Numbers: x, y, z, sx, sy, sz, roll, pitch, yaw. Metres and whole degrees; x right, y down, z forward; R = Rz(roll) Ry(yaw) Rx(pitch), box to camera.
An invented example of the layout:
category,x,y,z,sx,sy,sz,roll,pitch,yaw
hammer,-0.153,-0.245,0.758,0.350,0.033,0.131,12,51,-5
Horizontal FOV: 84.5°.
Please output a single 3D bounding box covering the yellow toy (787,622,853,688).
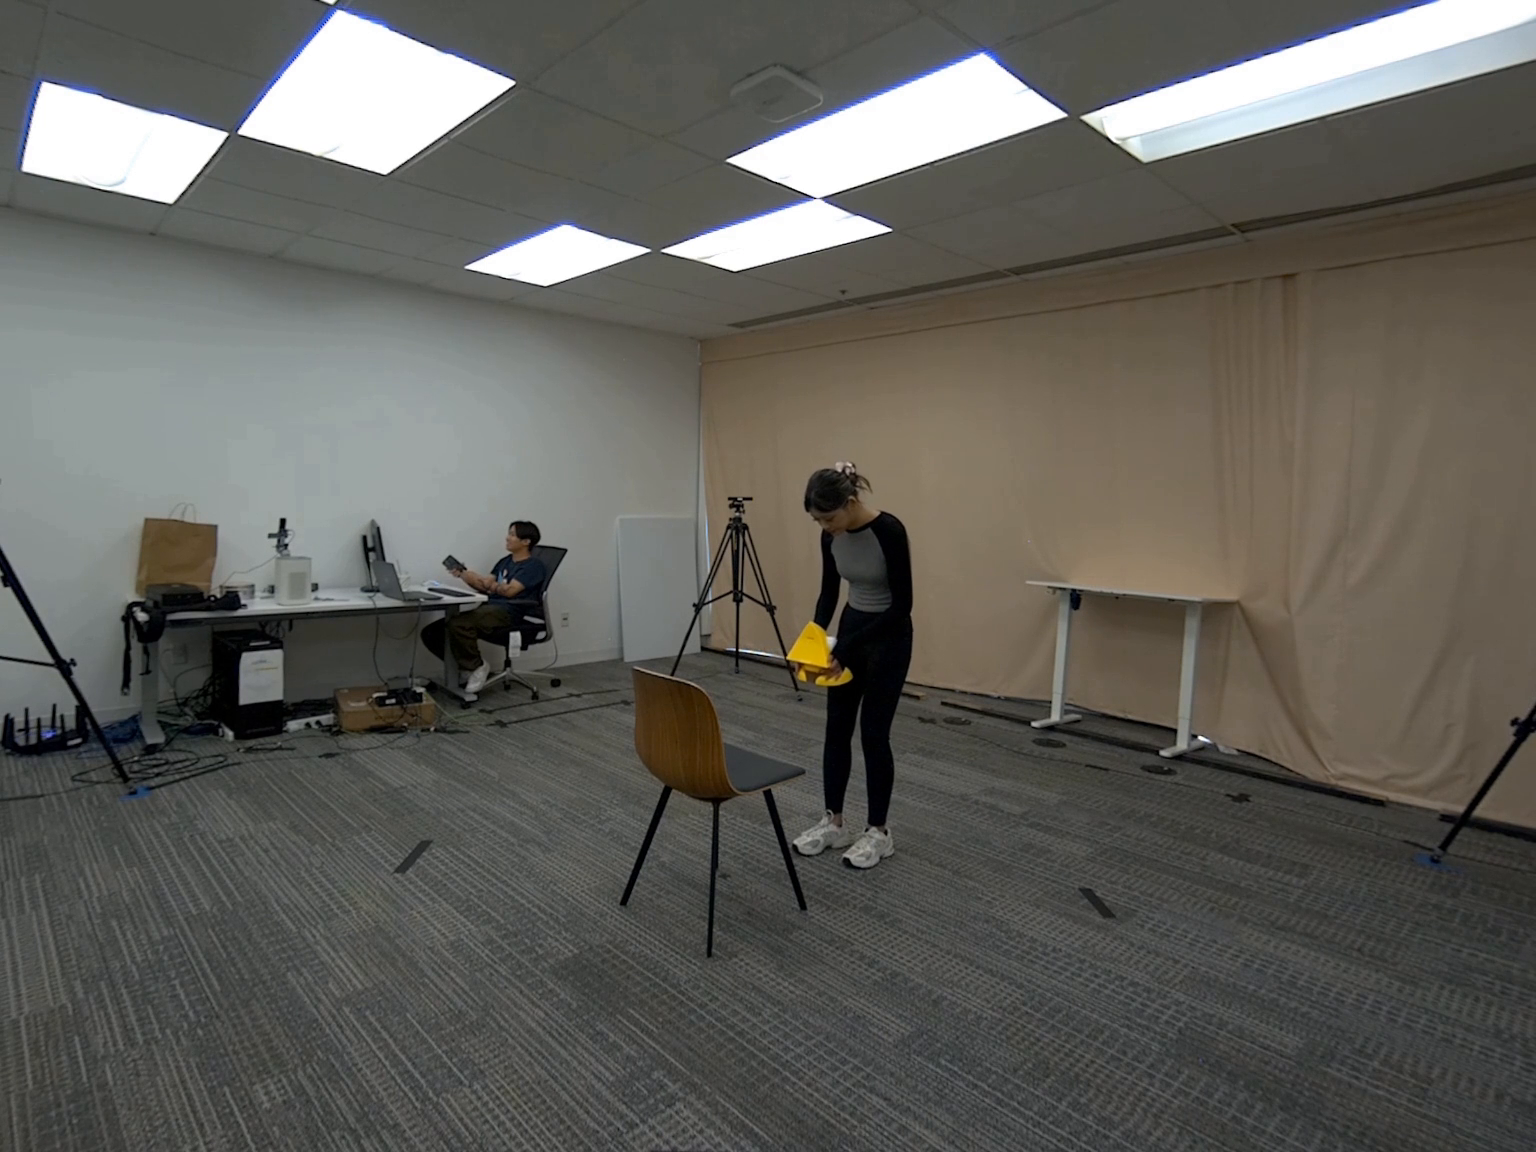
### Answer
category,x,y,z,sx,sy,sz,roll,pitch,yaw
yellow toy,0.196,0.276,3.155,0.189,0.229,0.210,-8,9,-43
